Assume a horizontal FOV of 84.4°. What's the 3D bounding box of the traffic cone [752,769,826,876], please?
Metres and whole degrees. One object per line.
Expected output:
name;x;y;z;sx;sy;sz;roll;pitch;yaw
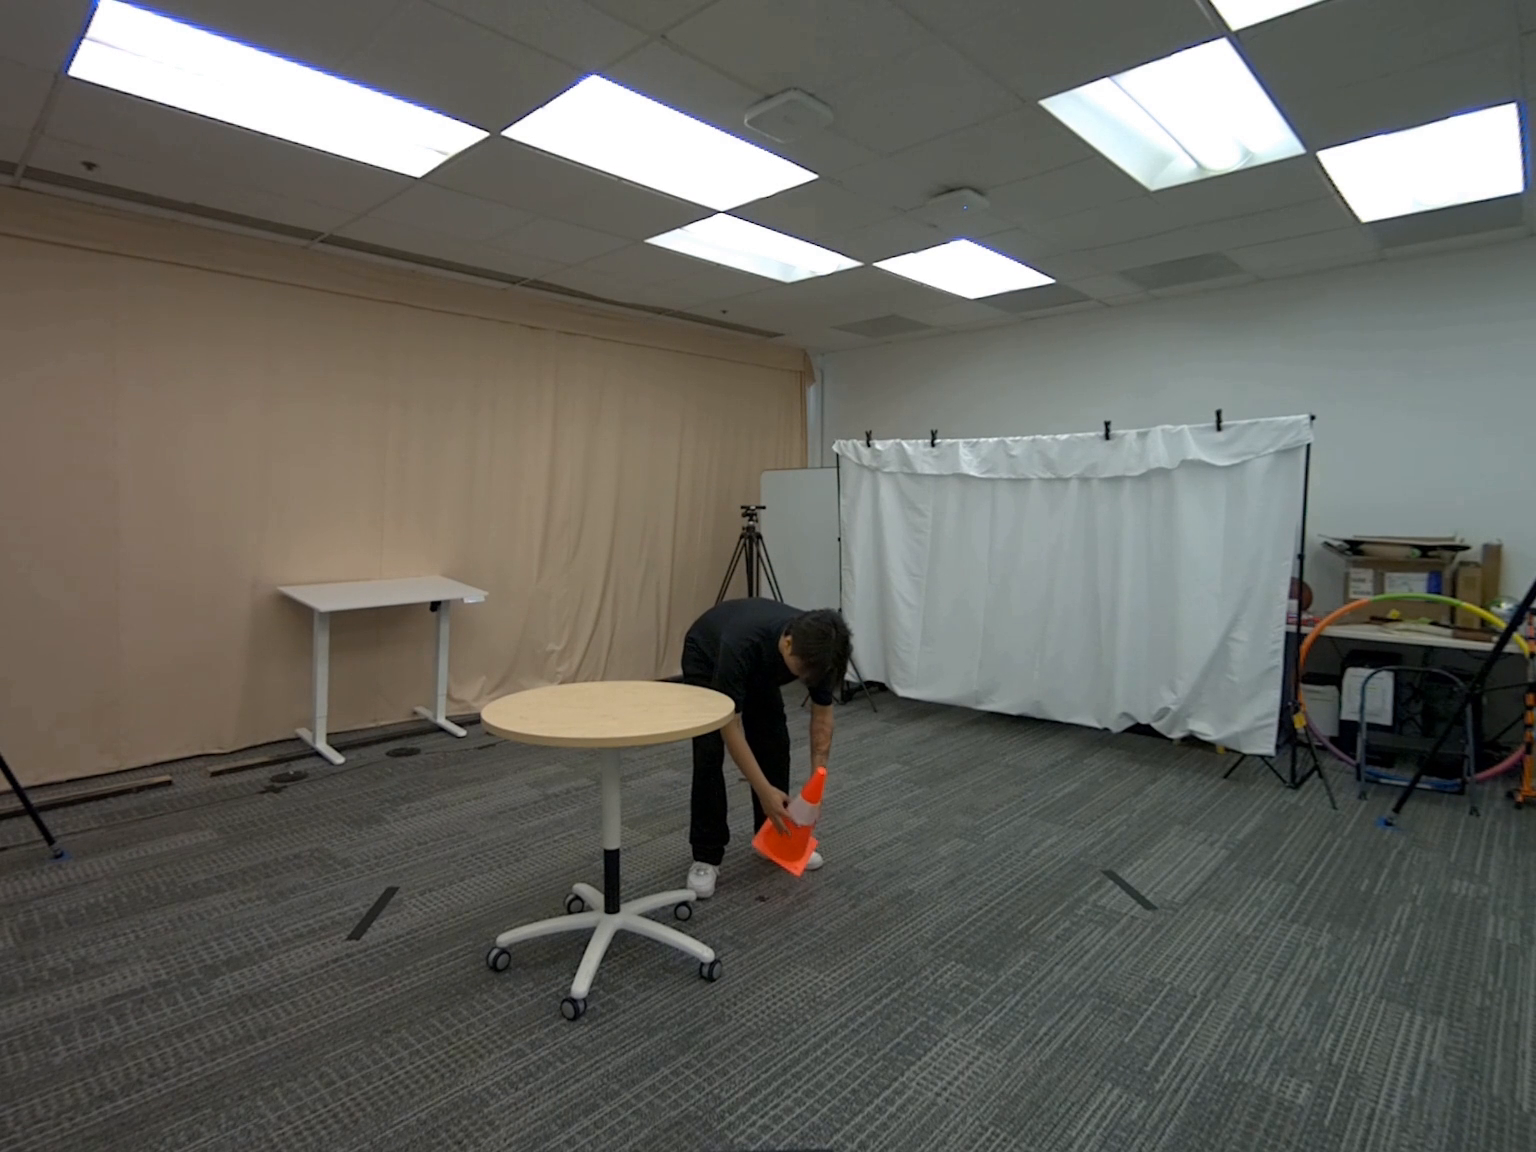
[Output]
traffic cone;0.124;0.801;2.921;0.209;0.381;0.200;28;28;16
